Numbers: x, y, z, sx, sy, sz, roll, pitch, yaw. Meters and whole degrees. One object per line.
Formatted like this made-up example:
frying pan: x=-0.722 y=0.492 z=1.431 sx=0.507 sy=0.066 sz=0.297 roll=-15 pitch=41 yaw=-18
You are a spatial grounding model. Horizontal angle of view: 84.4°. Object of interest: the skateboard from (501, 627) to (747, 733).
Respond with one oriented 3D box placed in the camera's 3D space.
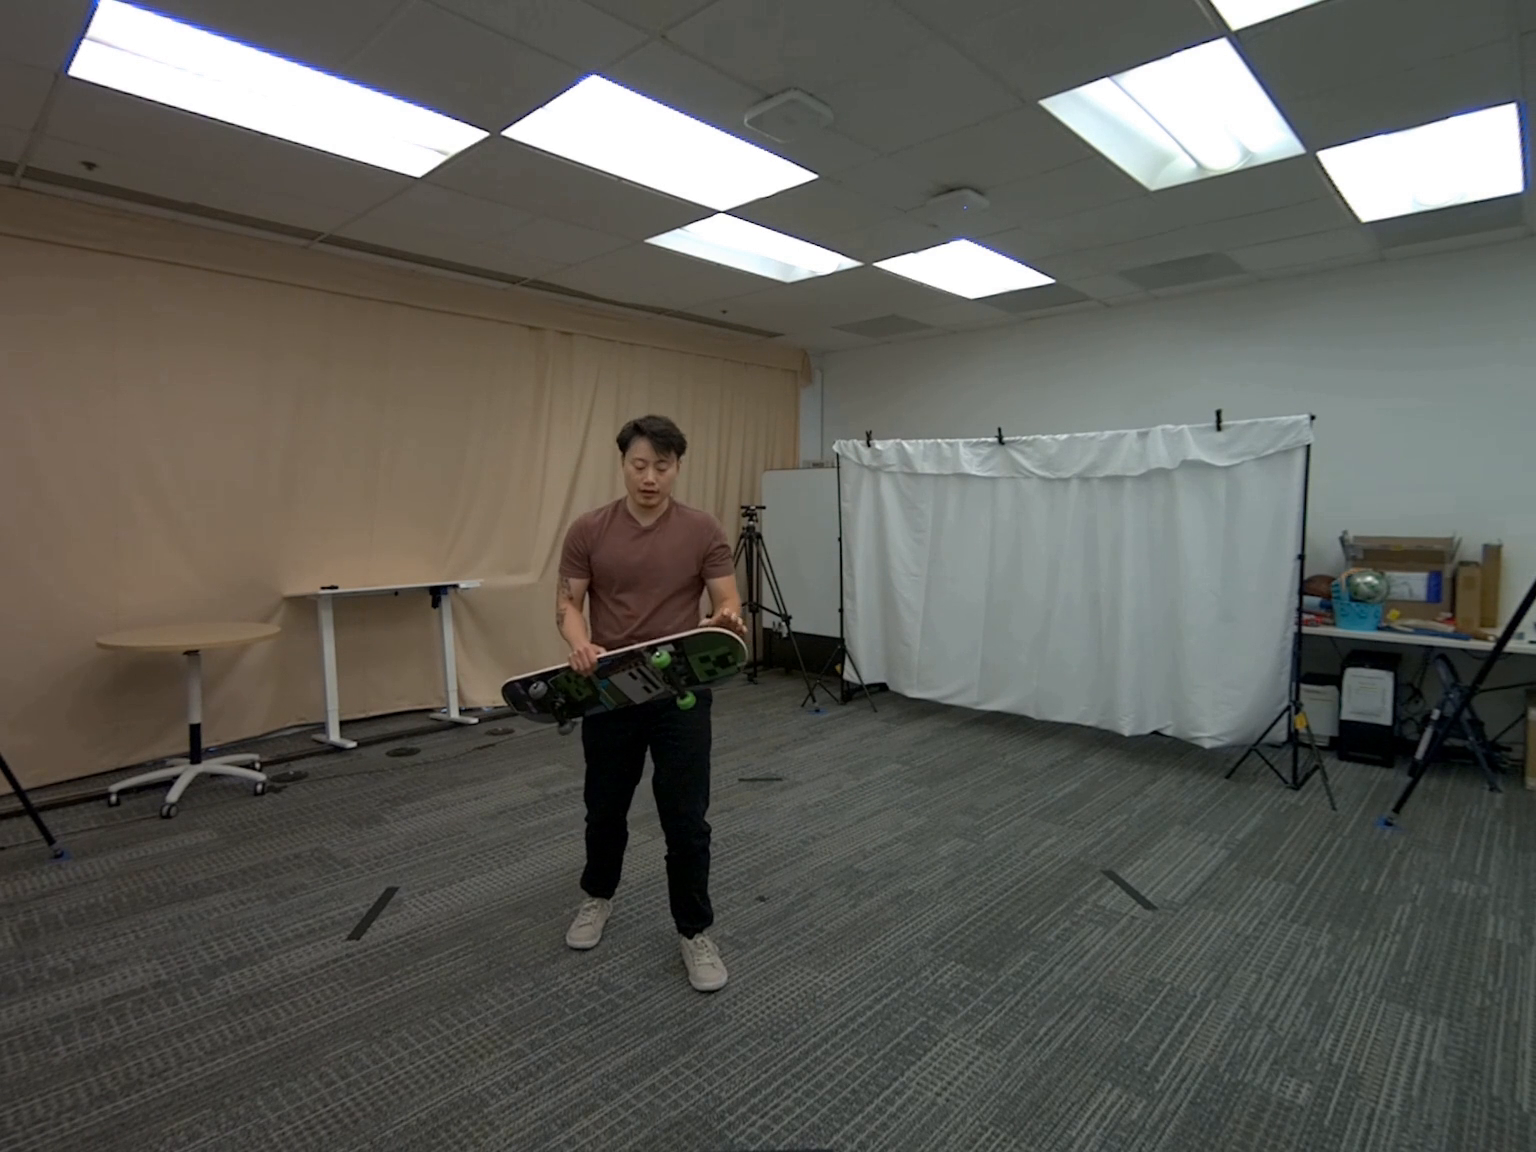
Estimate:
skateboard: x=-0.434 y=0.314 z=2.352 sx=0.800 sy=0.188 sz=0.111 roll=-15 pitch=33 yaw=22
